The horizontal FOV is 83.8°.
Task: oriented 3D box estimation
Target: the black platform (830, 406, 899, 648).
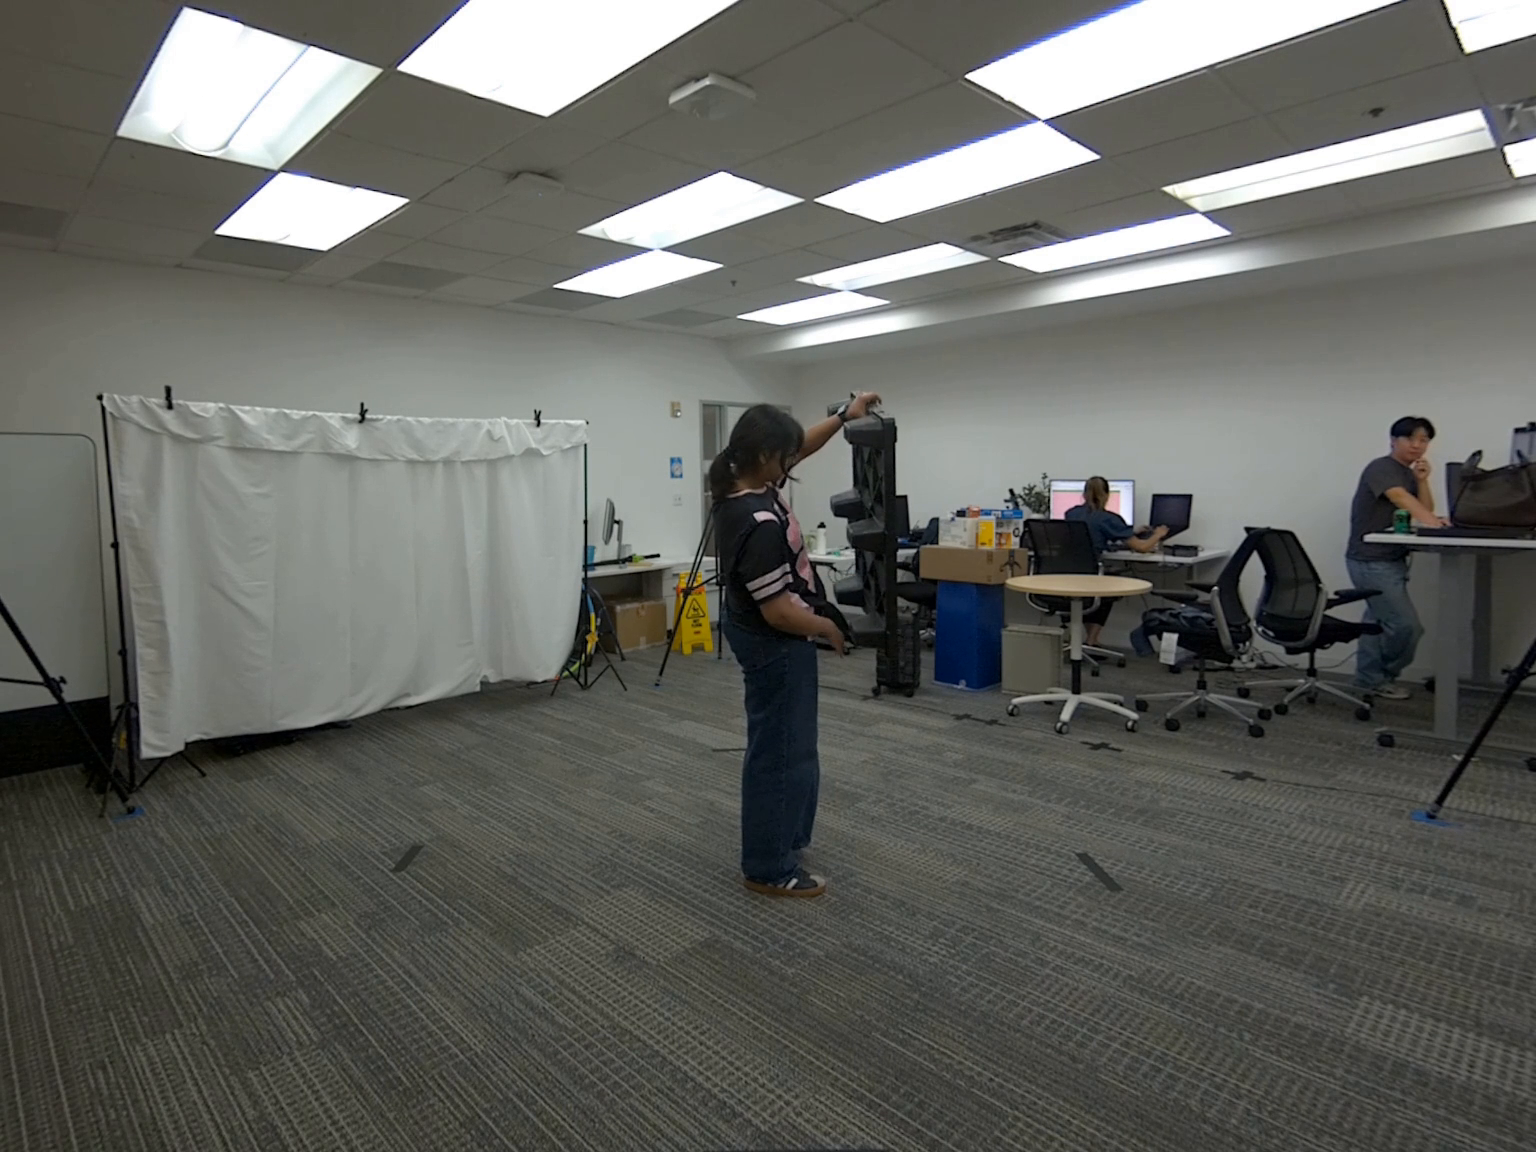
[{"bbox_3d":[0.318,-0.192,2.945,0.143,0.792,0.616,-4,18,-3],"label":"black platform"}]
